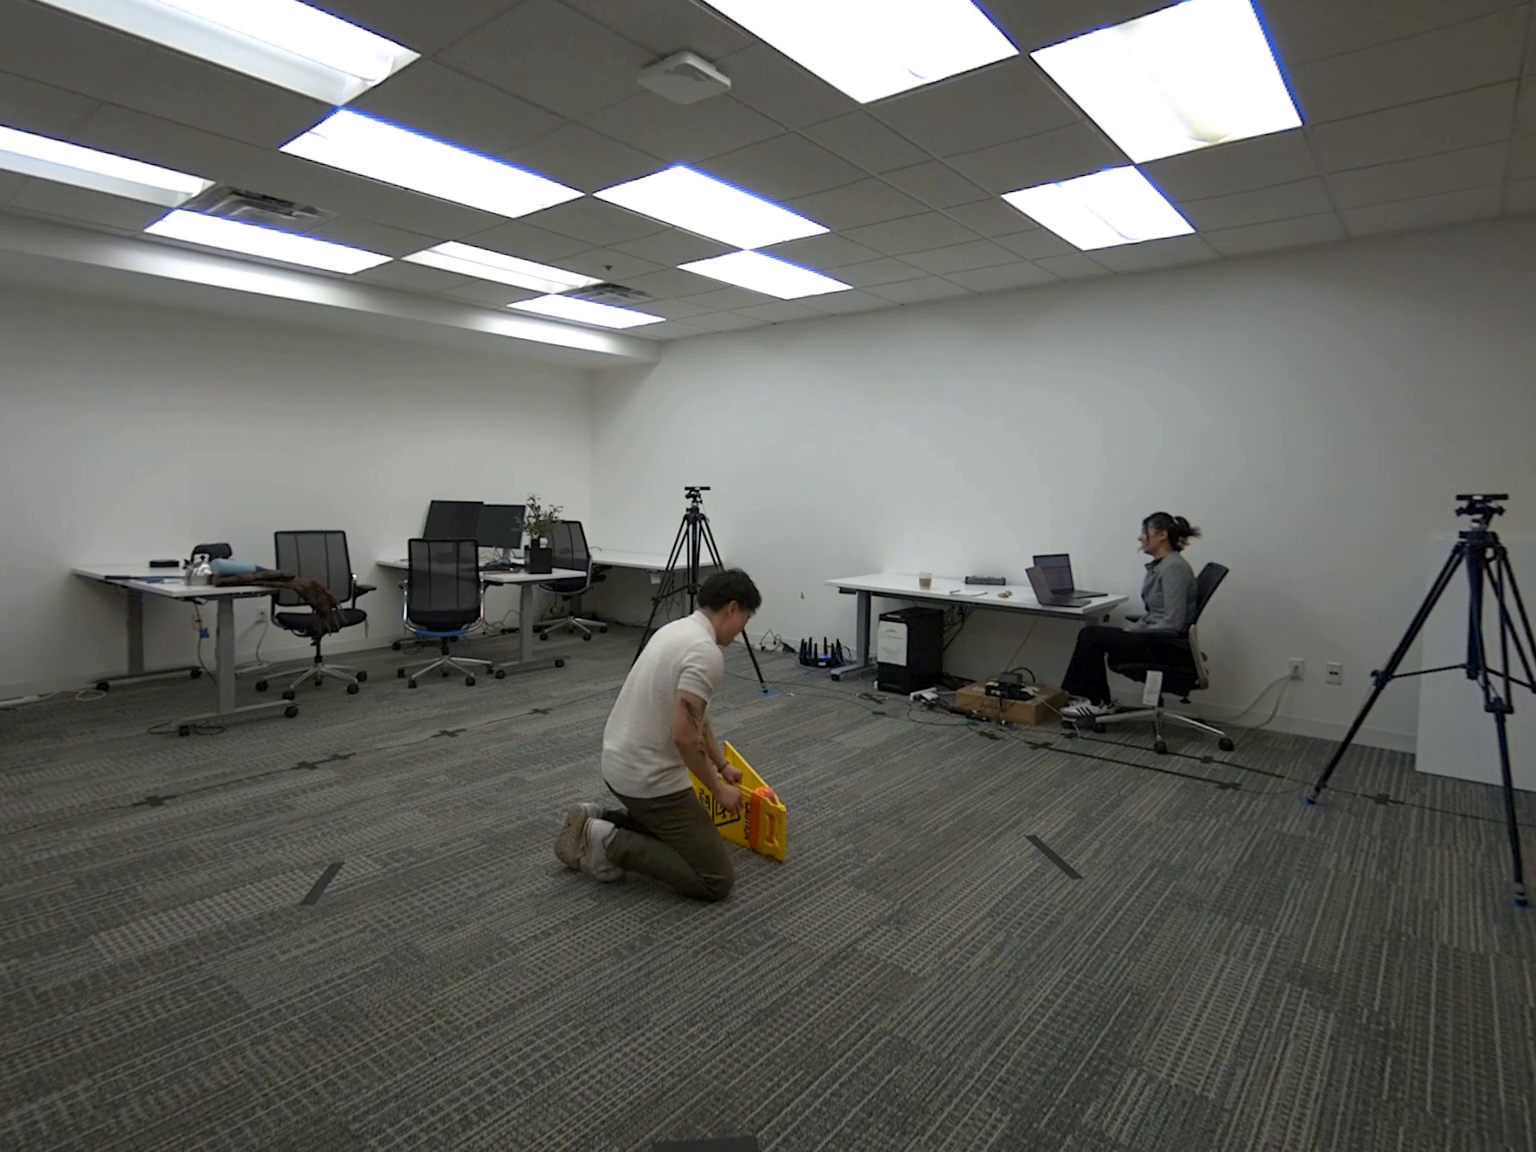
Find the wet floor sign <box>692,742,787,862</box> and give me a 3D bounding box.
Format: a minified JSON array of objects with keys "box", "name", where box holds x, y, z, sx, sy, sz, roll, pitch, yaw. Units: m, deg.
[{"box":[-0.121,0.906,3.416,0.282,0.280,0.669,-3,10,-34],"name":"wet floor sign"}]
